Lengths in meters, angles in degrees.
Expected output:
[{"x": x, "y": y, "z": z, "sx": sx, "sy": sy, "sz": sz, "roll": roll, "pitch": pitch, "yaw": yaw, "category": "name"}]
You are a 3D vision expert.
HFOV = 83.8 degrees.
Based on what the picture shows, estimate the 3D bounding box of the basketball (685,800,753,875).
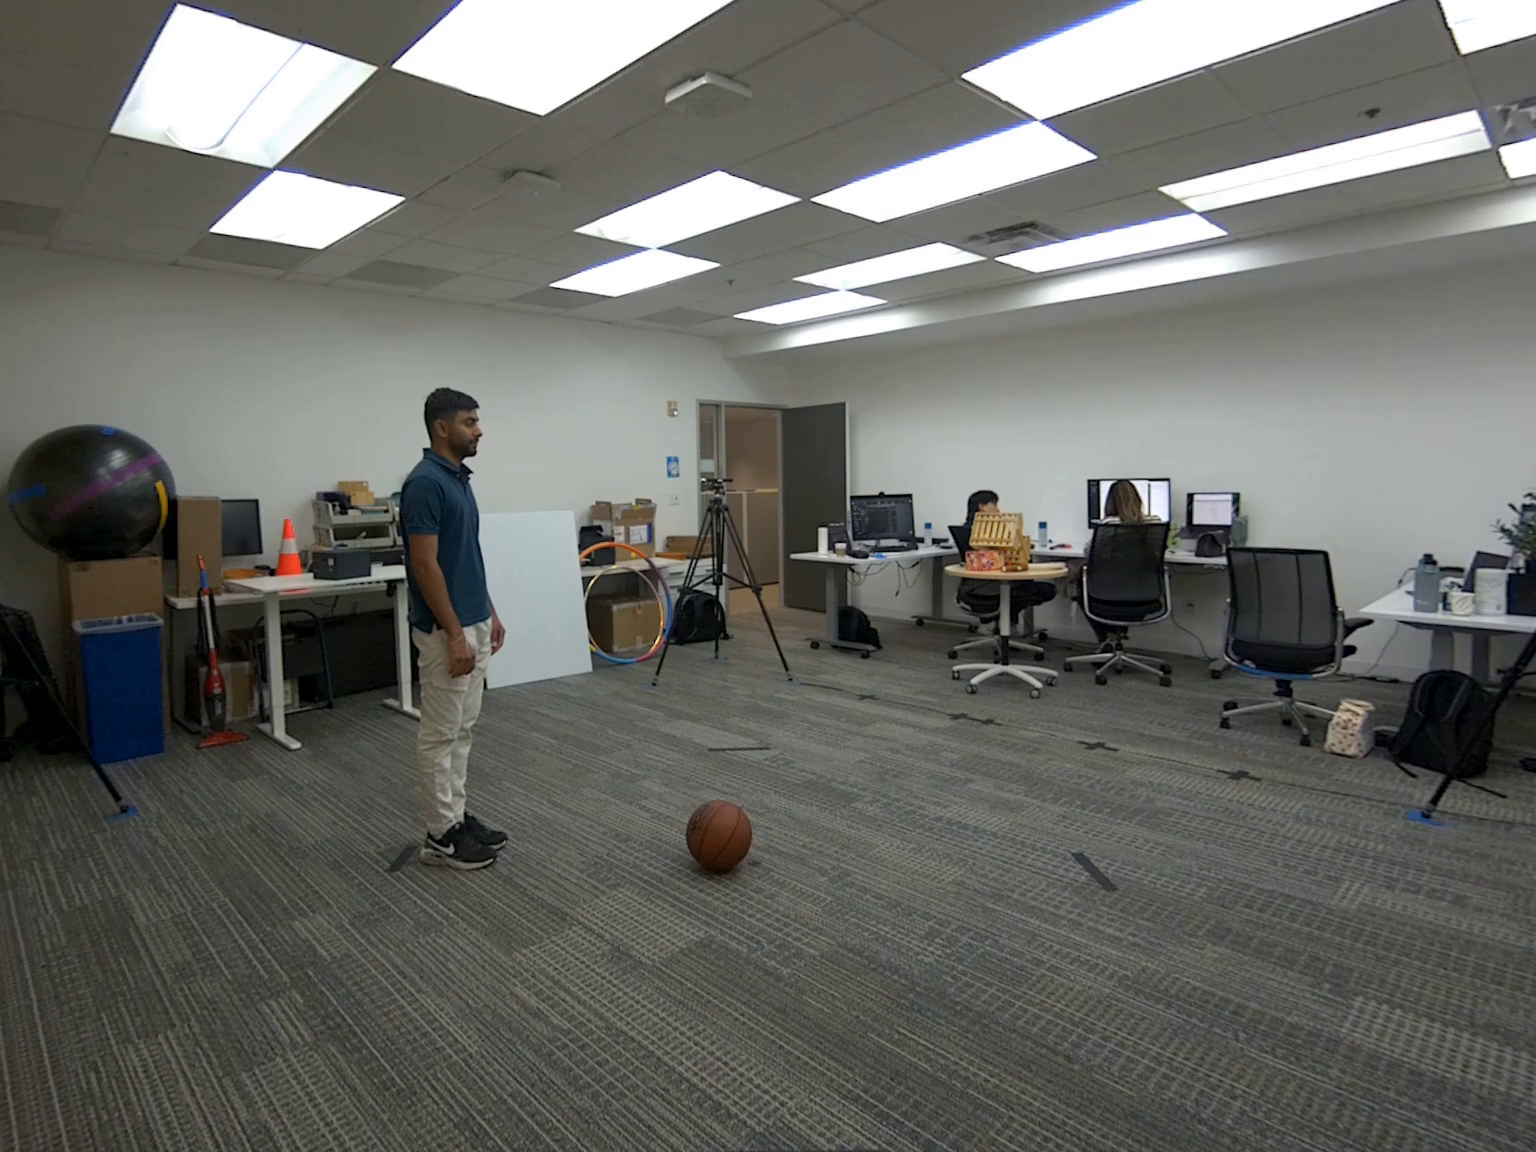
[{"x": -0.175, "y": 0.926, "z": 3.067, "sx": 0.236, "sy": 0.235, "sz": 0.237, "roll": -1, "pitch": 5, "yaw": -2, "category": "basketball"}]
